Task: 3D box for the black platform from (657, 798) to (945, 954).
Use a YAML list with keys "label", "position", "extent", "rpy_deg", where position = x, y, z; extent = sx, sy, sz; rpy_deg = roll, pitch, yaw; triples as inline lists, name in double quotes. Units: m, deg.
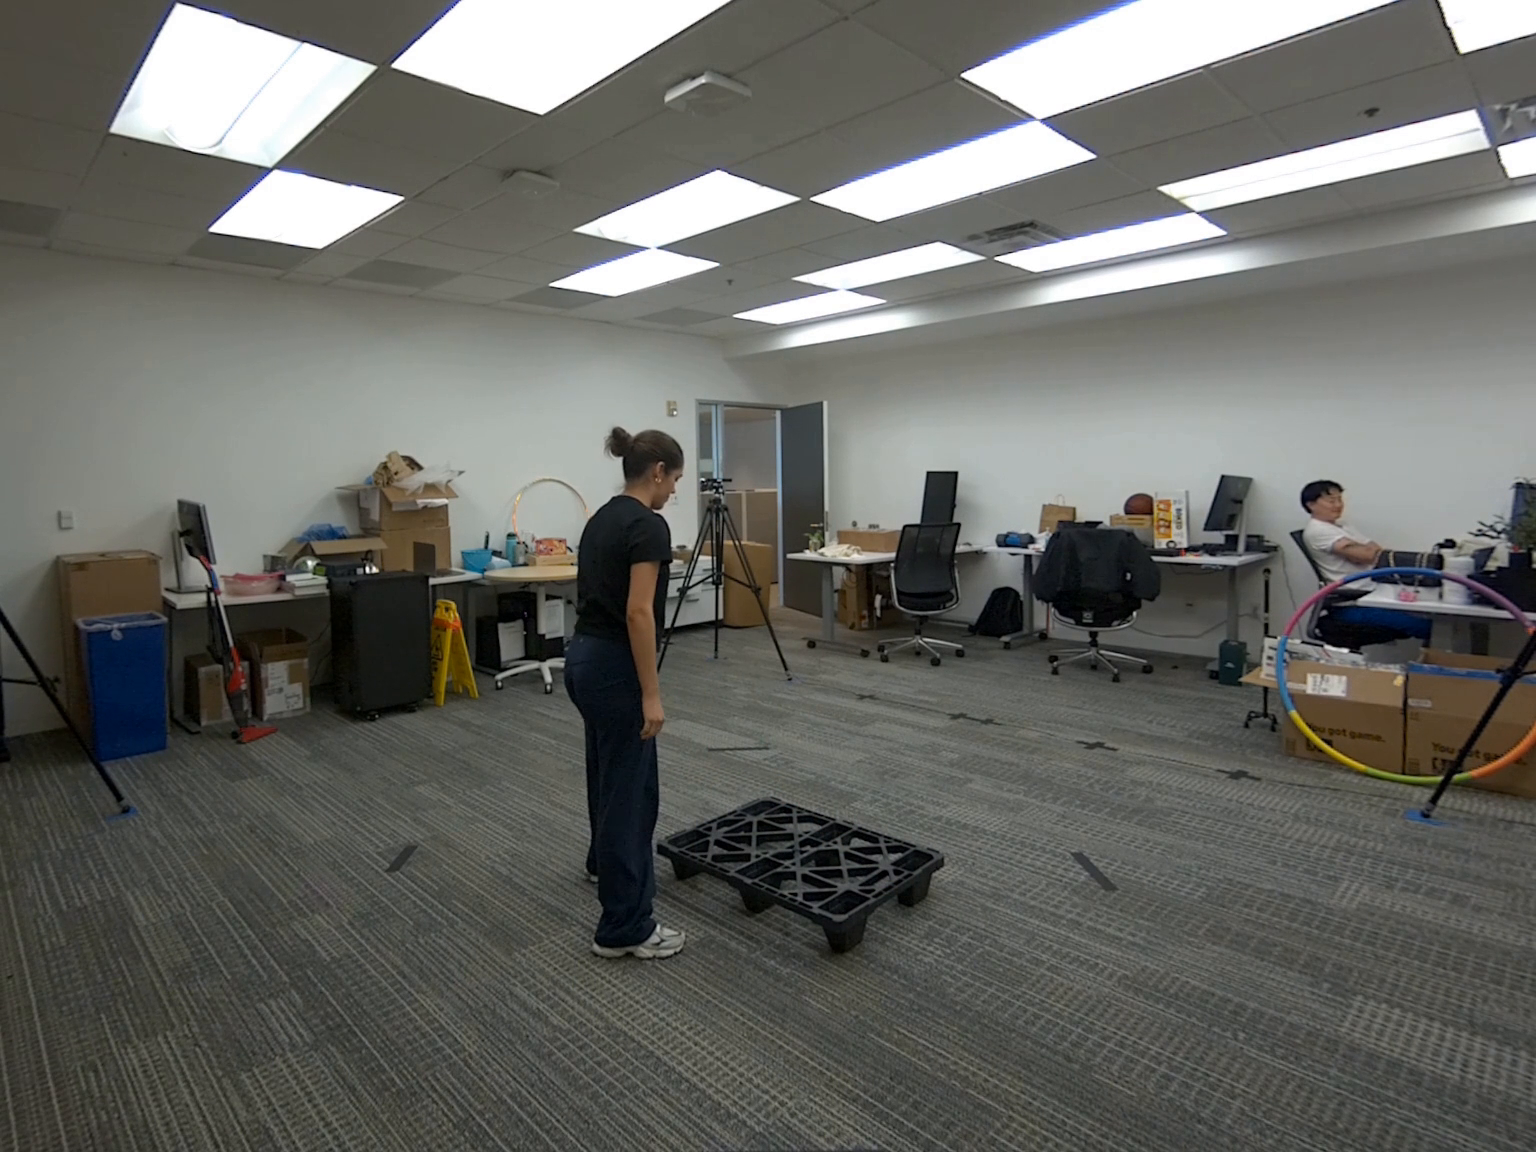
- label: "black platform"
  position: [0.101, 0.996, 2.929]
  extent: [0.830, 0.142, 0.589]
  rpy_deg: [5, 9, 42]
